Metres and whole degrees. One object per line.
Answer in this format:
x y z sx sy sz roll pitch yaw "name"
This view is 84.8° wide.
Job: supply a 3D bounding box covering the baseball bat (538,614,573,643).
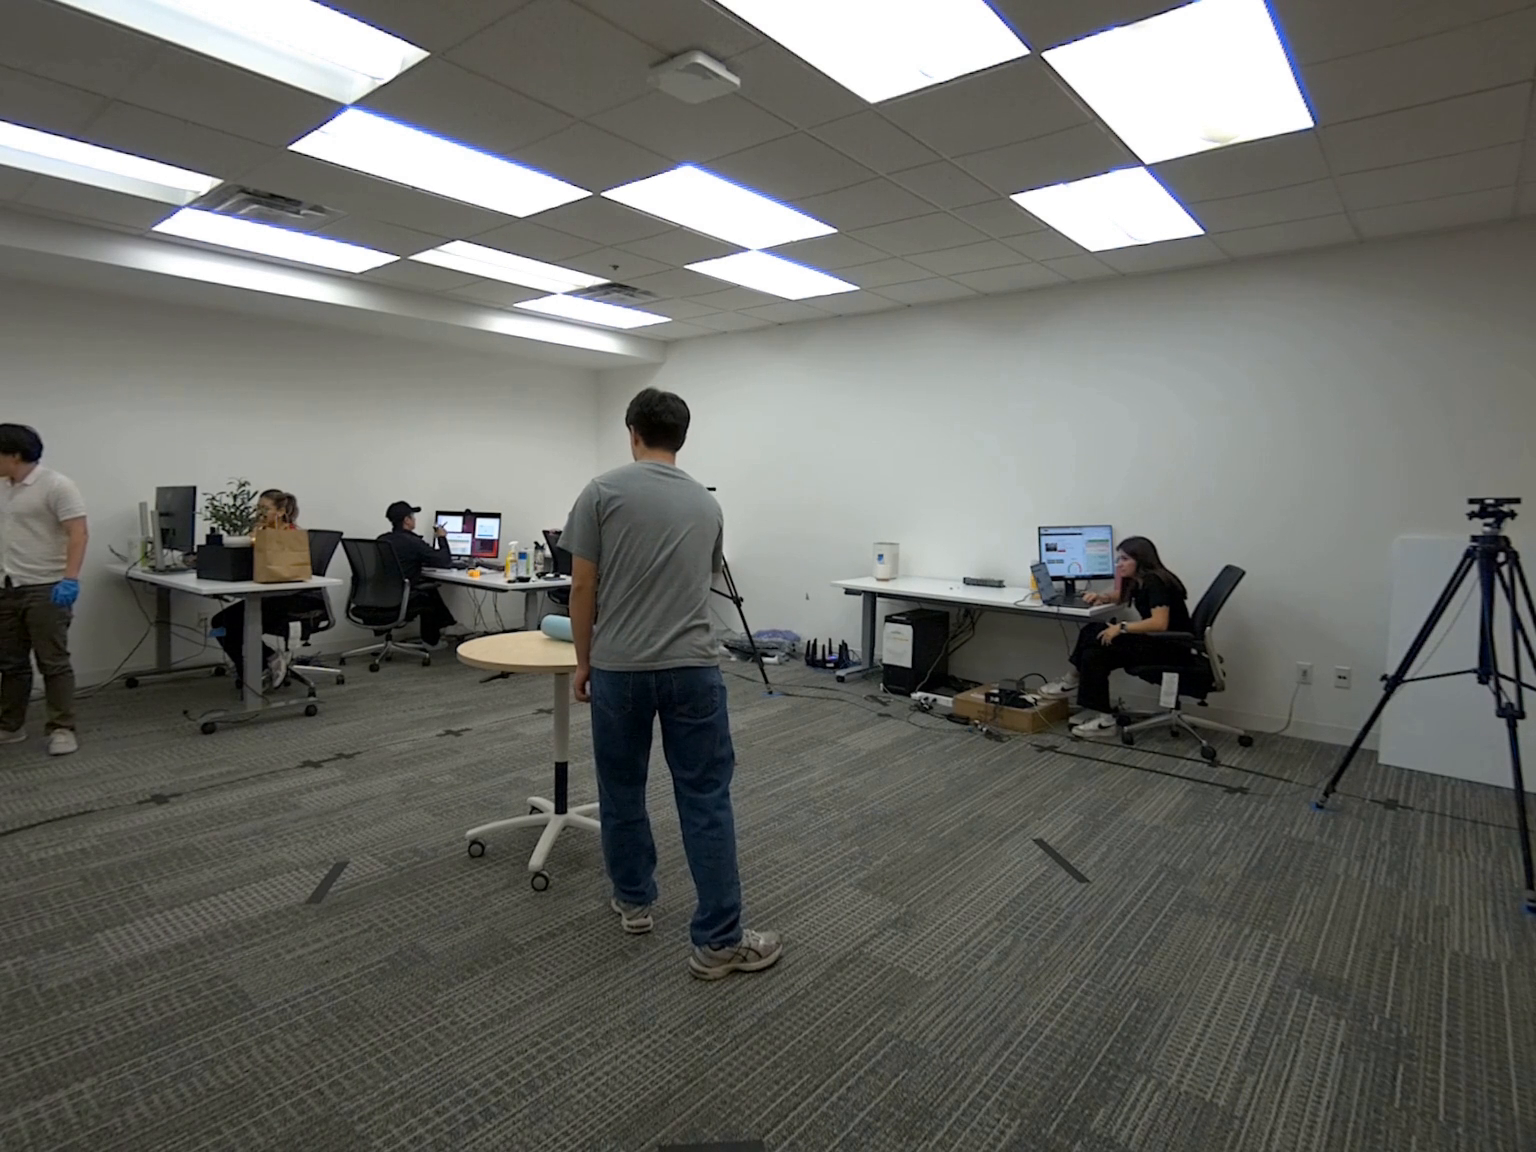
-0.663 0.224 3.244 0.561 0.089 0.086 7 7 35 "baseball bat"
